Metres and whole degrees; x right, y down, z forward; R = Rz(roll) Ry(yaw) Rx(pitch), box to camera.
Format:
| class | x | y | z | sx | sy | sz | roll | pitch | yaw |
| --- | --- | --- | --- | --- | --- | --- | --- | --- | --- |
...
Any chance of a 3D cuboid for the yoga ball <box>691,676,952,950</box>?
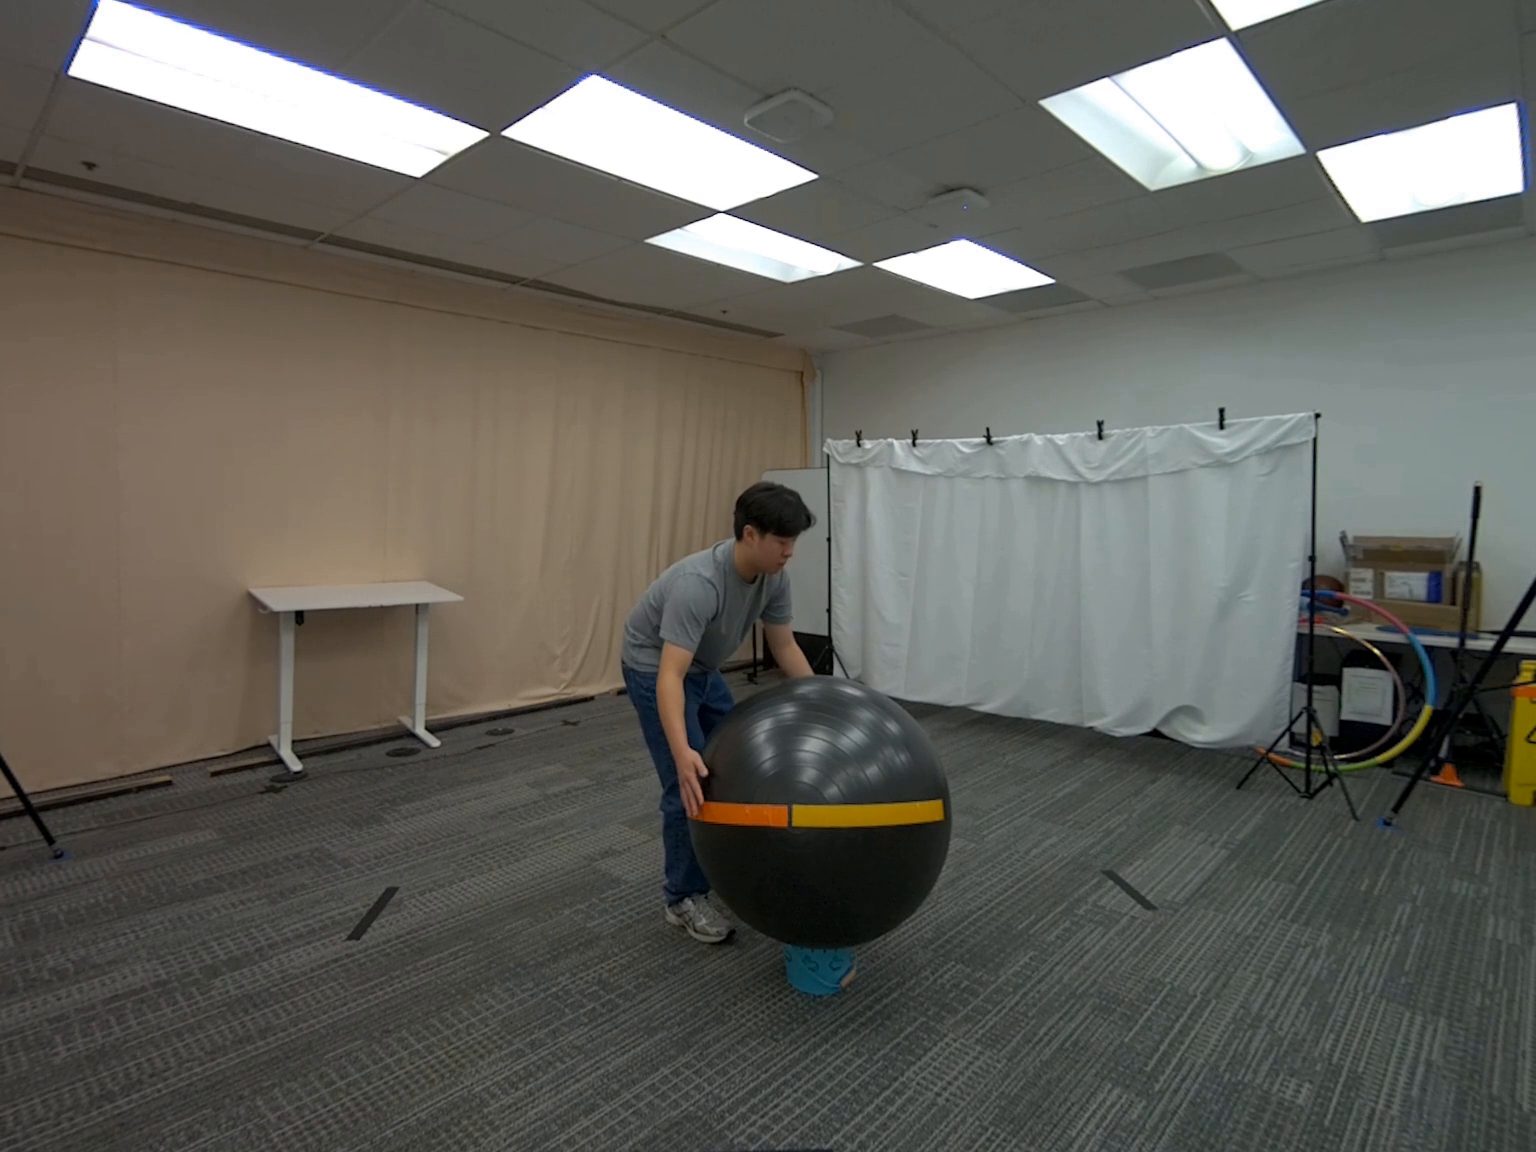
| class | x | y | z | sx | sy | sz | roll | pitch | yaw |
| --- | --- | --- | --- | --- | --- | --- | --- | --- | --- |
| yoga ball | 0.156 | 0.685 | 2.452 | 0.757 | 0.756 | 0.760 | 0 | 4 | -2 |
